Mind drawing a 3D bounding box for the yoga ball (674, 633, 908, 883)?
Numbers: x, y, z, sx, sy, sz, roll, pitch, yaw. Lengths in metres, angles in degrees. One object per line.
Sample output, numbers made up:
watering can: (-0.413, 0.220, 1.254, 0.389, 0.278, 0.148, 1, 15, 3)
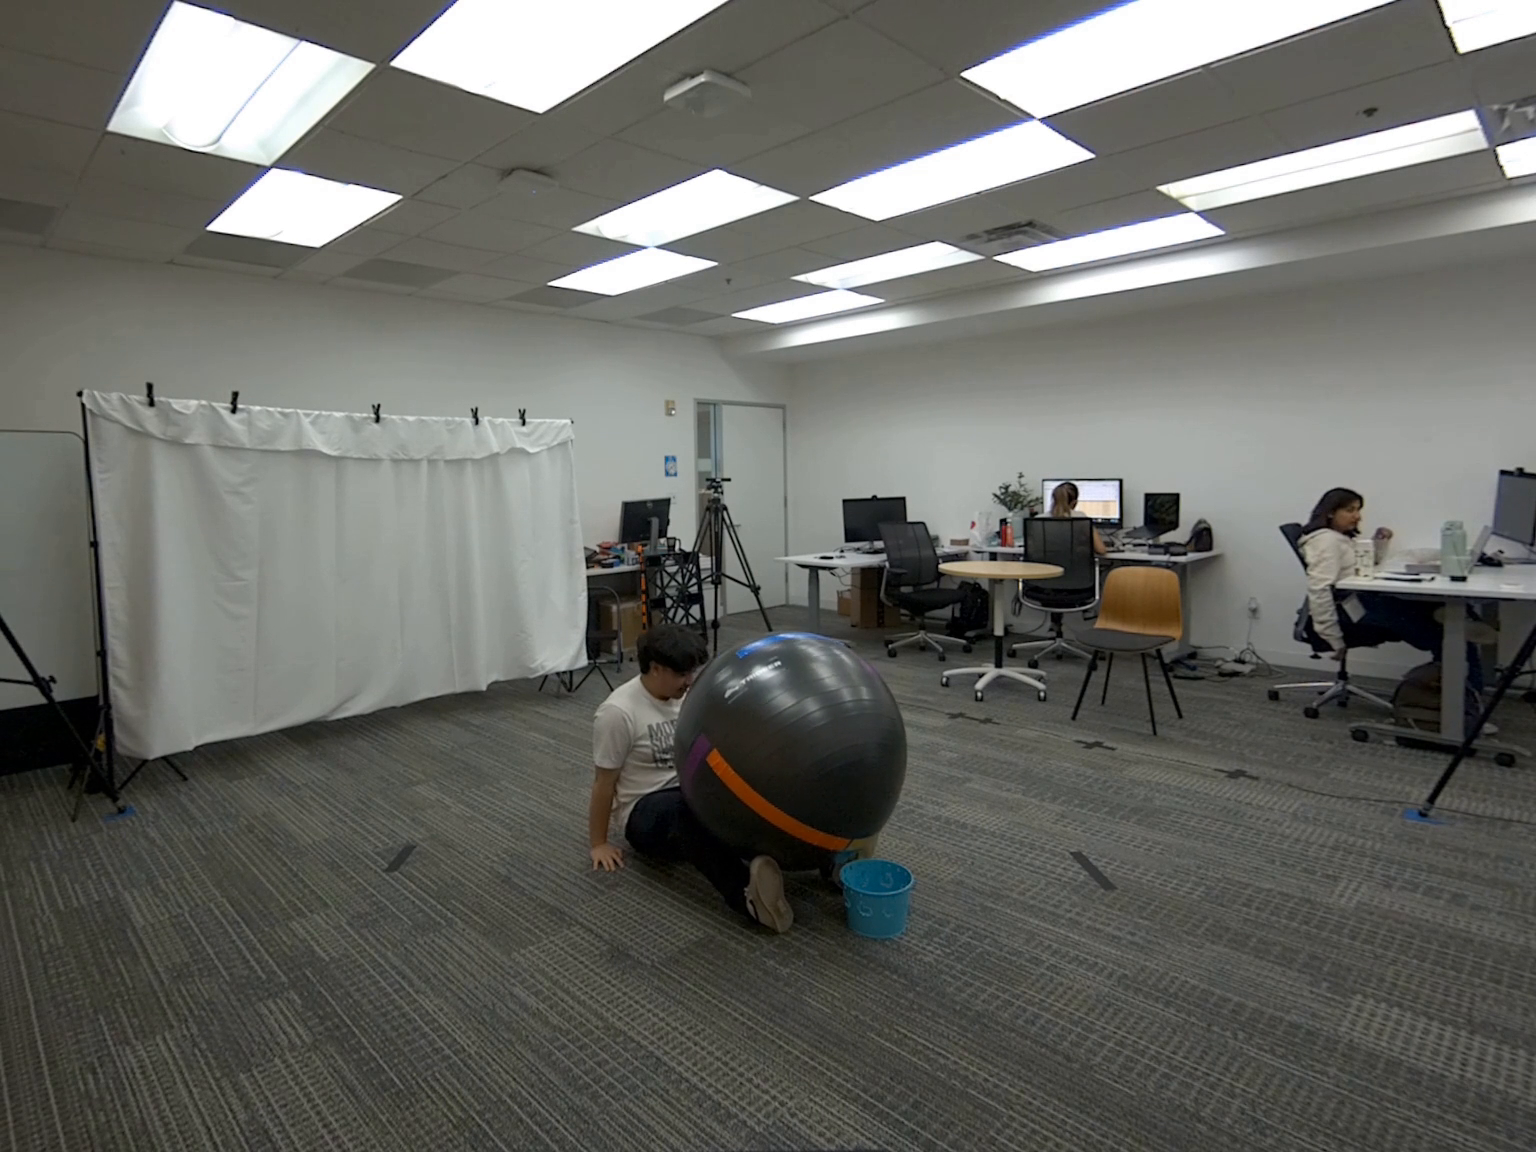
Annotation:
yoga ball: (0.071, 0.563, 2.805, 0.757, 0.755, 0.762, -1, 5, -2)
